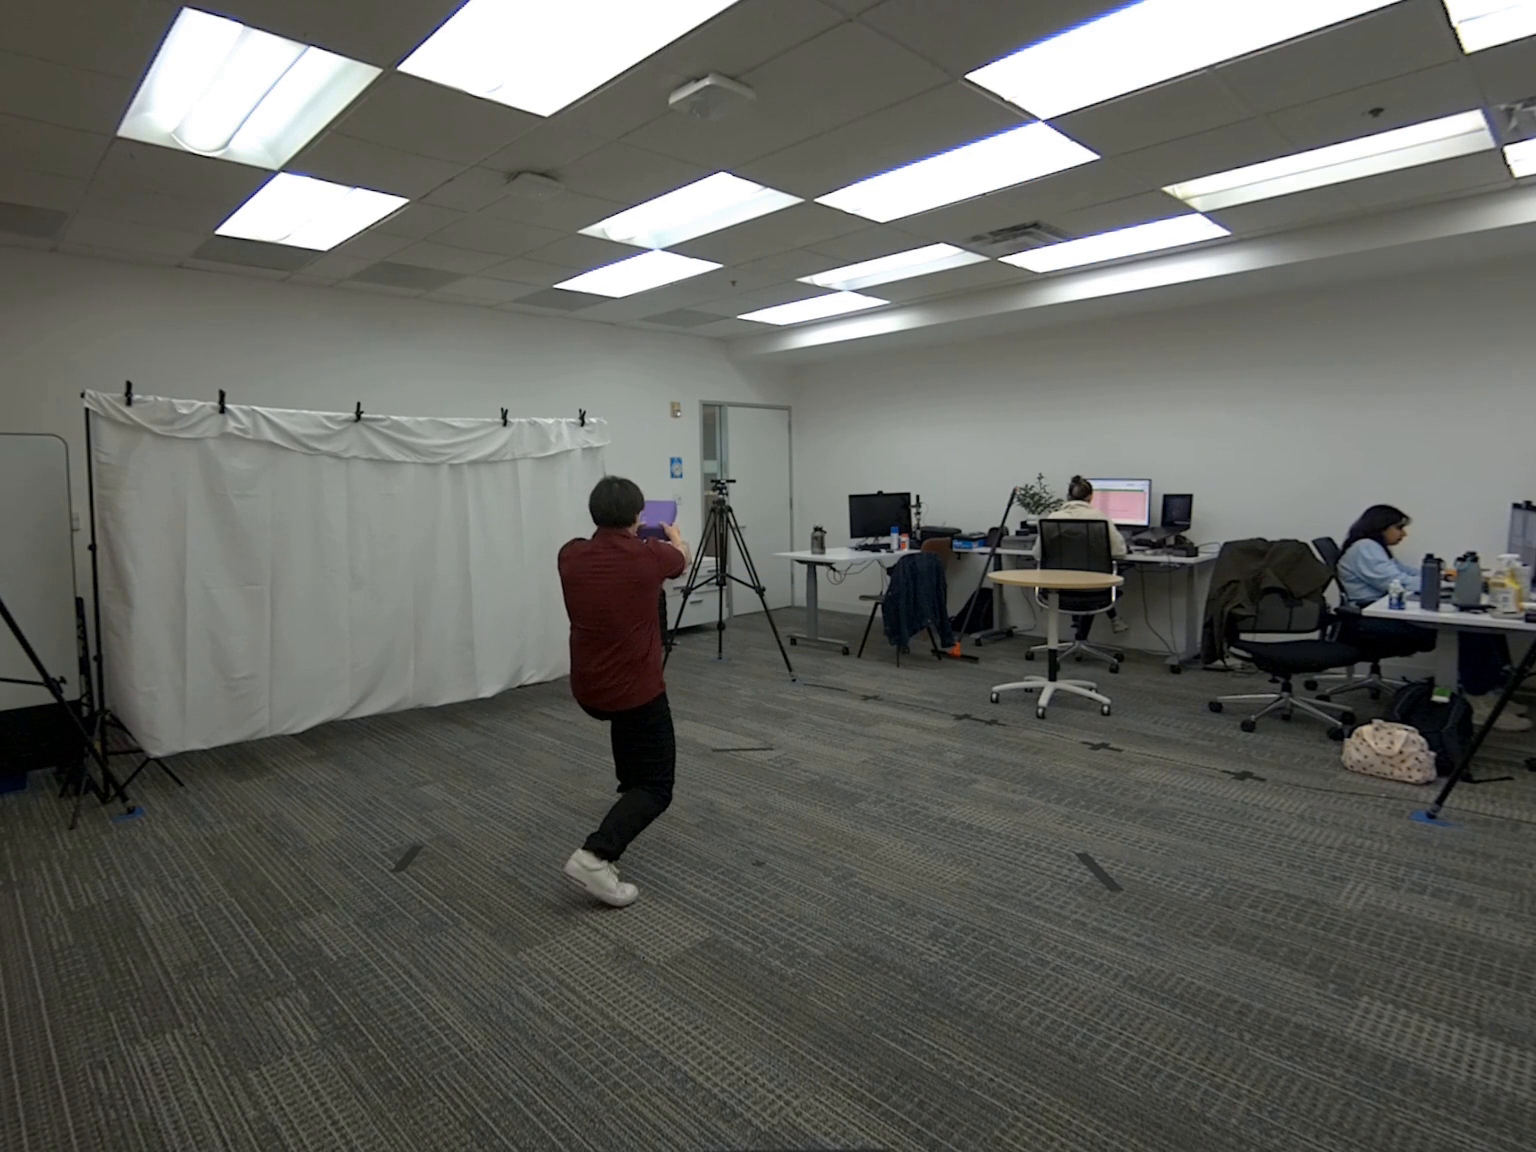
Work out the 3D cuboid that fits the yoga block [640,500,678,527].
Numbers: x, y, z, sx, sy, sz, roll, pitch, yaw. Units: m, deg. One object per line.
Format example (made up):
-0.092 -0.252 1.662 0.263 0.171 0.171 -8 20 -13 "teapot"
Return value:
-0.504 -0.247 3.897 0.150 0.074 0.234 3 37 7 "yoga block"
